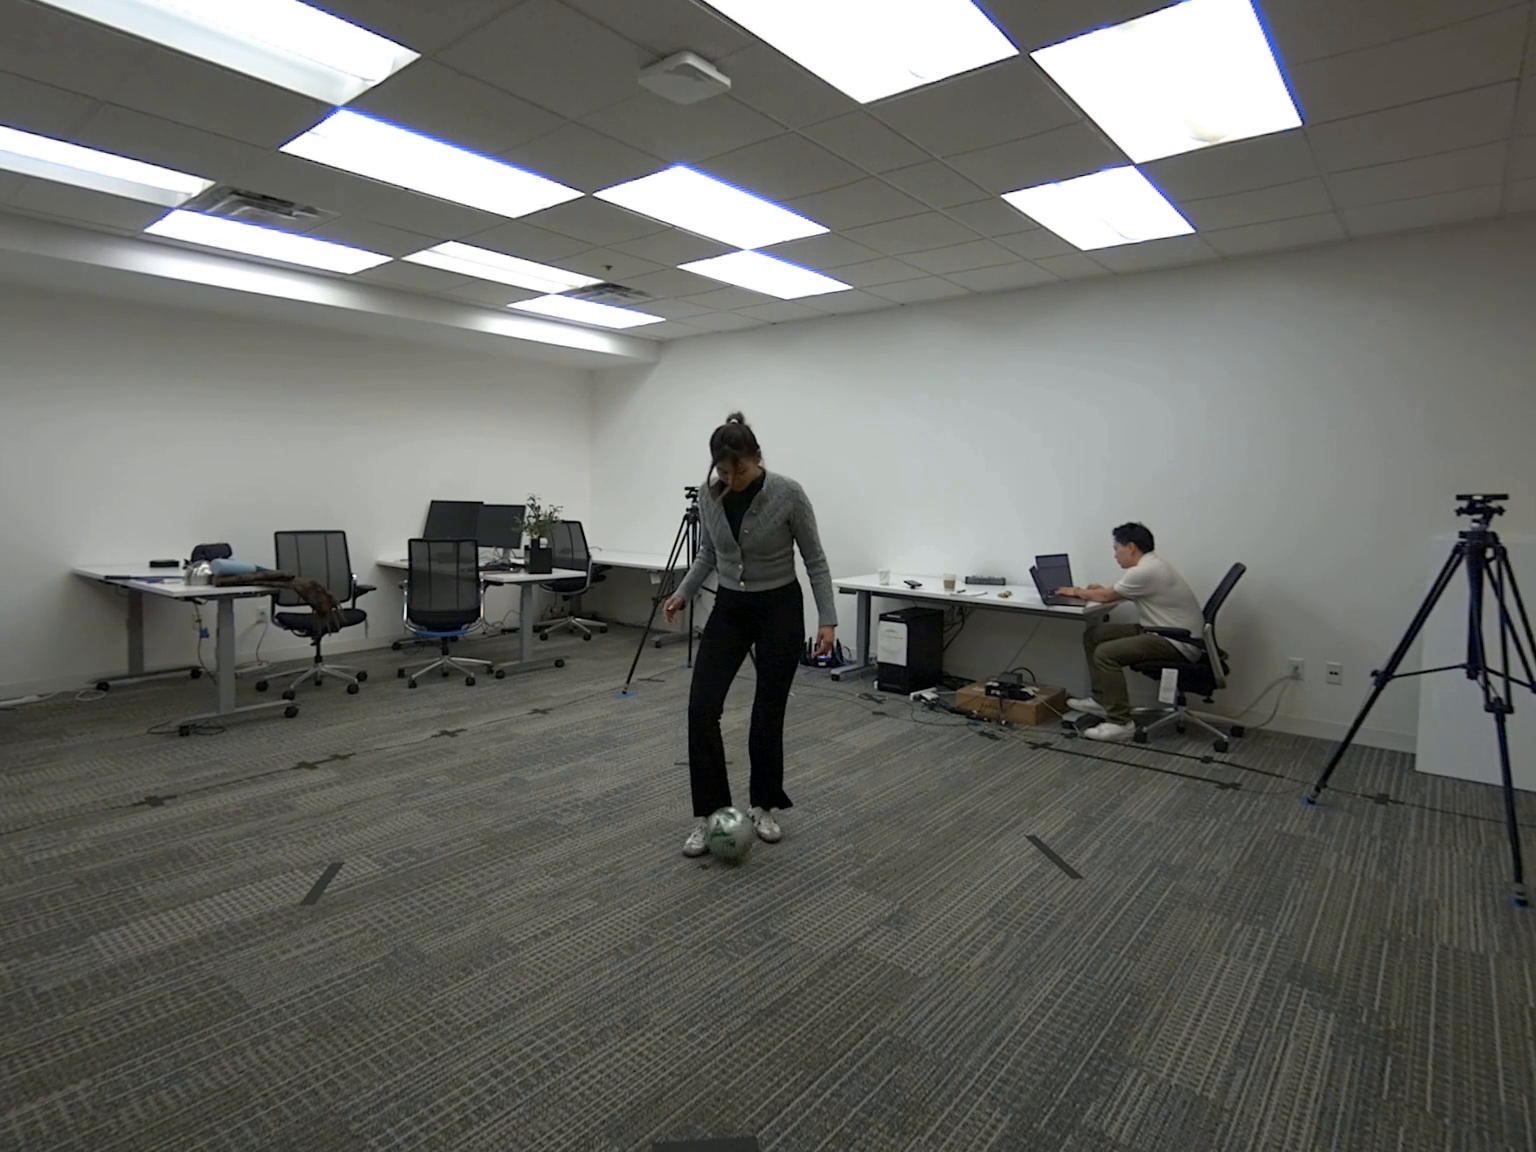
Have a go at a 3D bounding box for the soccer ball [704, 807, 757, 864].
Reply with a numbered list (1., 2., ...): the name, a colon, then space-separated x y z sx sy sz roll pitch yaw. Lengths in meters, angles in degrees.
1. soccer ball: -0.151 0.955 3.166 0.187 0.187 0.188 1 4 -2
